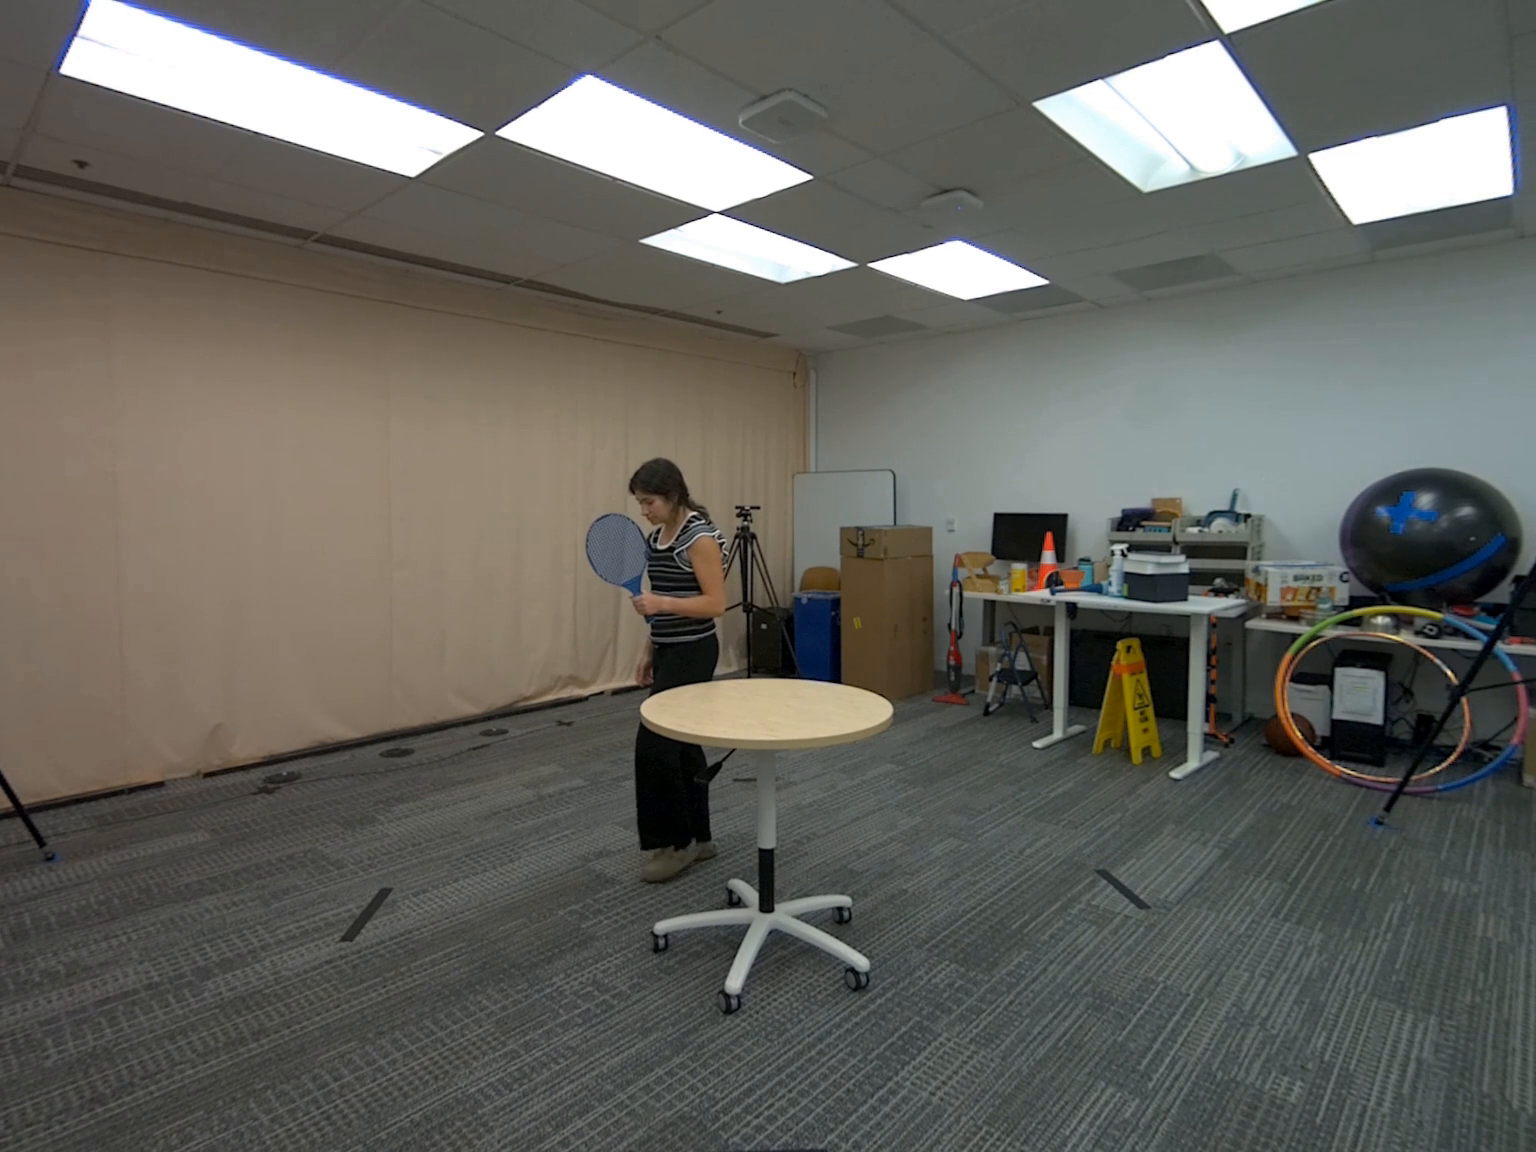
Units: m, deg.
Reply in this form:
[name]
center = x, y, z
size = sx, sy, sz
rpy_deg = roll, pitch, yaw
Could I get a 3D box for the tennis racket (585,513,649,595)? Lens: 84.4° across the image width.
[tennis racket]
center = -0.488, -0.023, 2.953
size = 0.212, 0.424, 0.033
rpy_deg = -31, 23, -16
